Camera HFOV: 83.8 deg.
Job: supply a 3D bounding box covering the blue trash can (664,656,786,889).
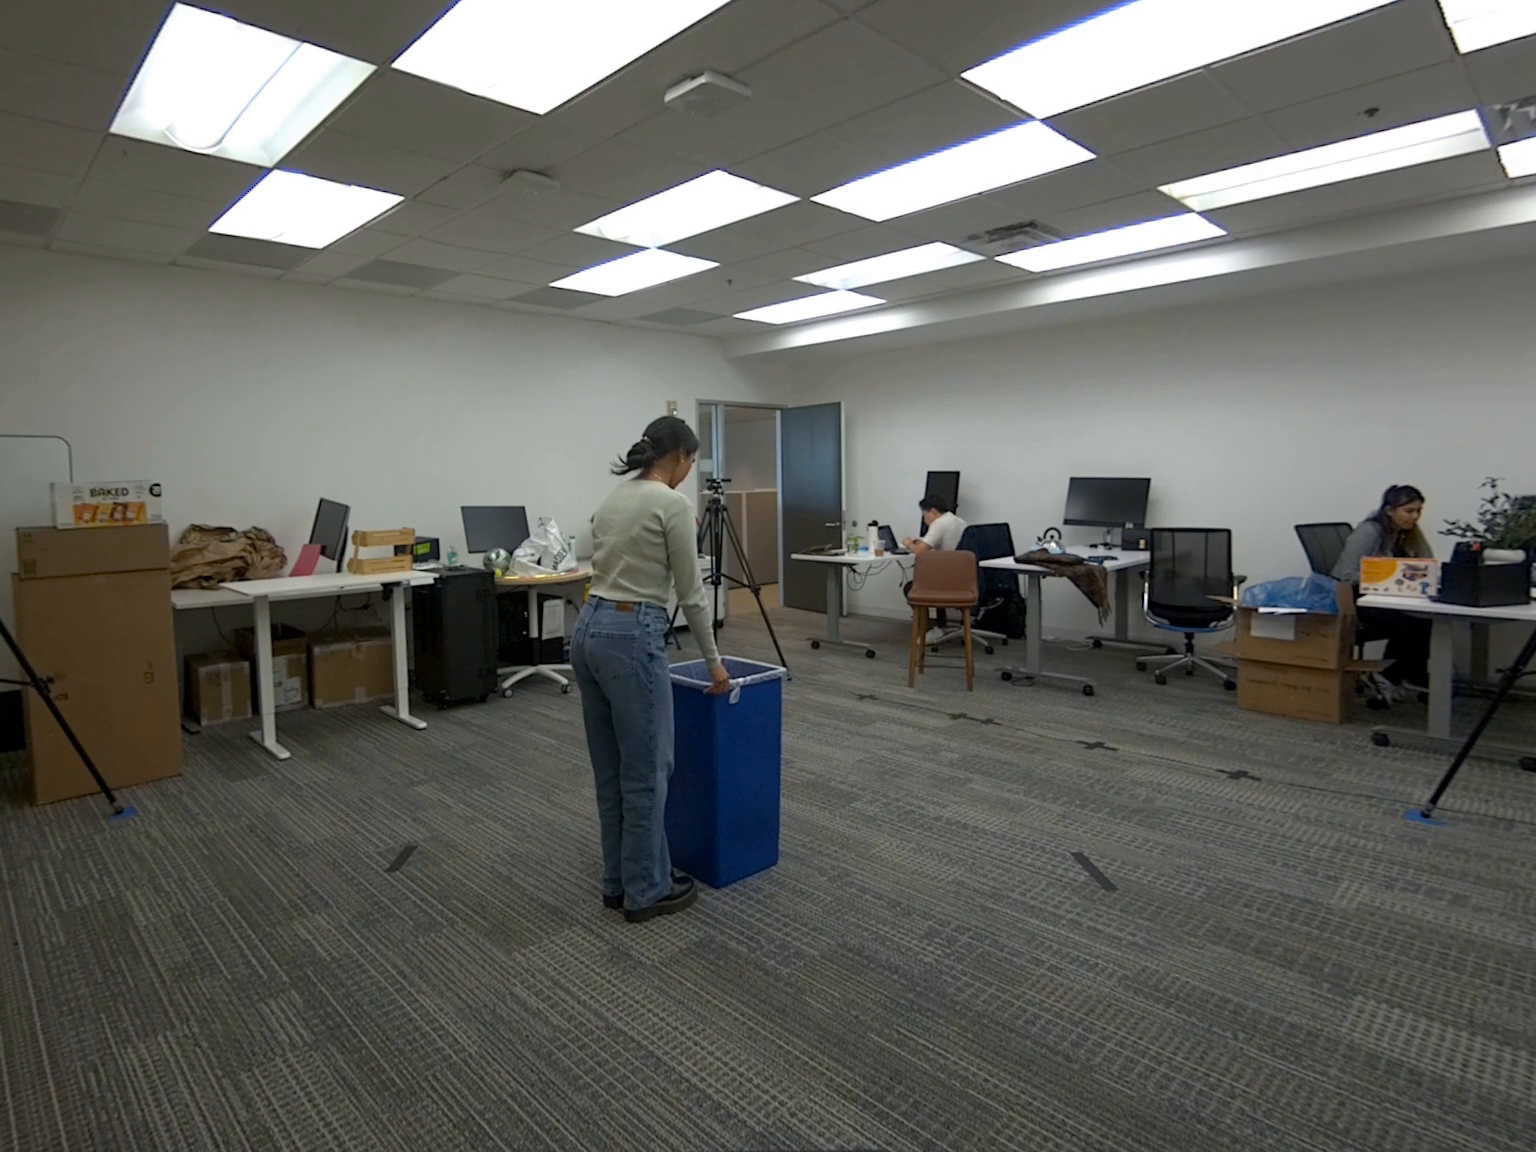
[{"bbox_3d":[-0.176,0.689,3.097,0.368,0.711,0.385,-4,6,-42],"label":"blue trash can"}]
